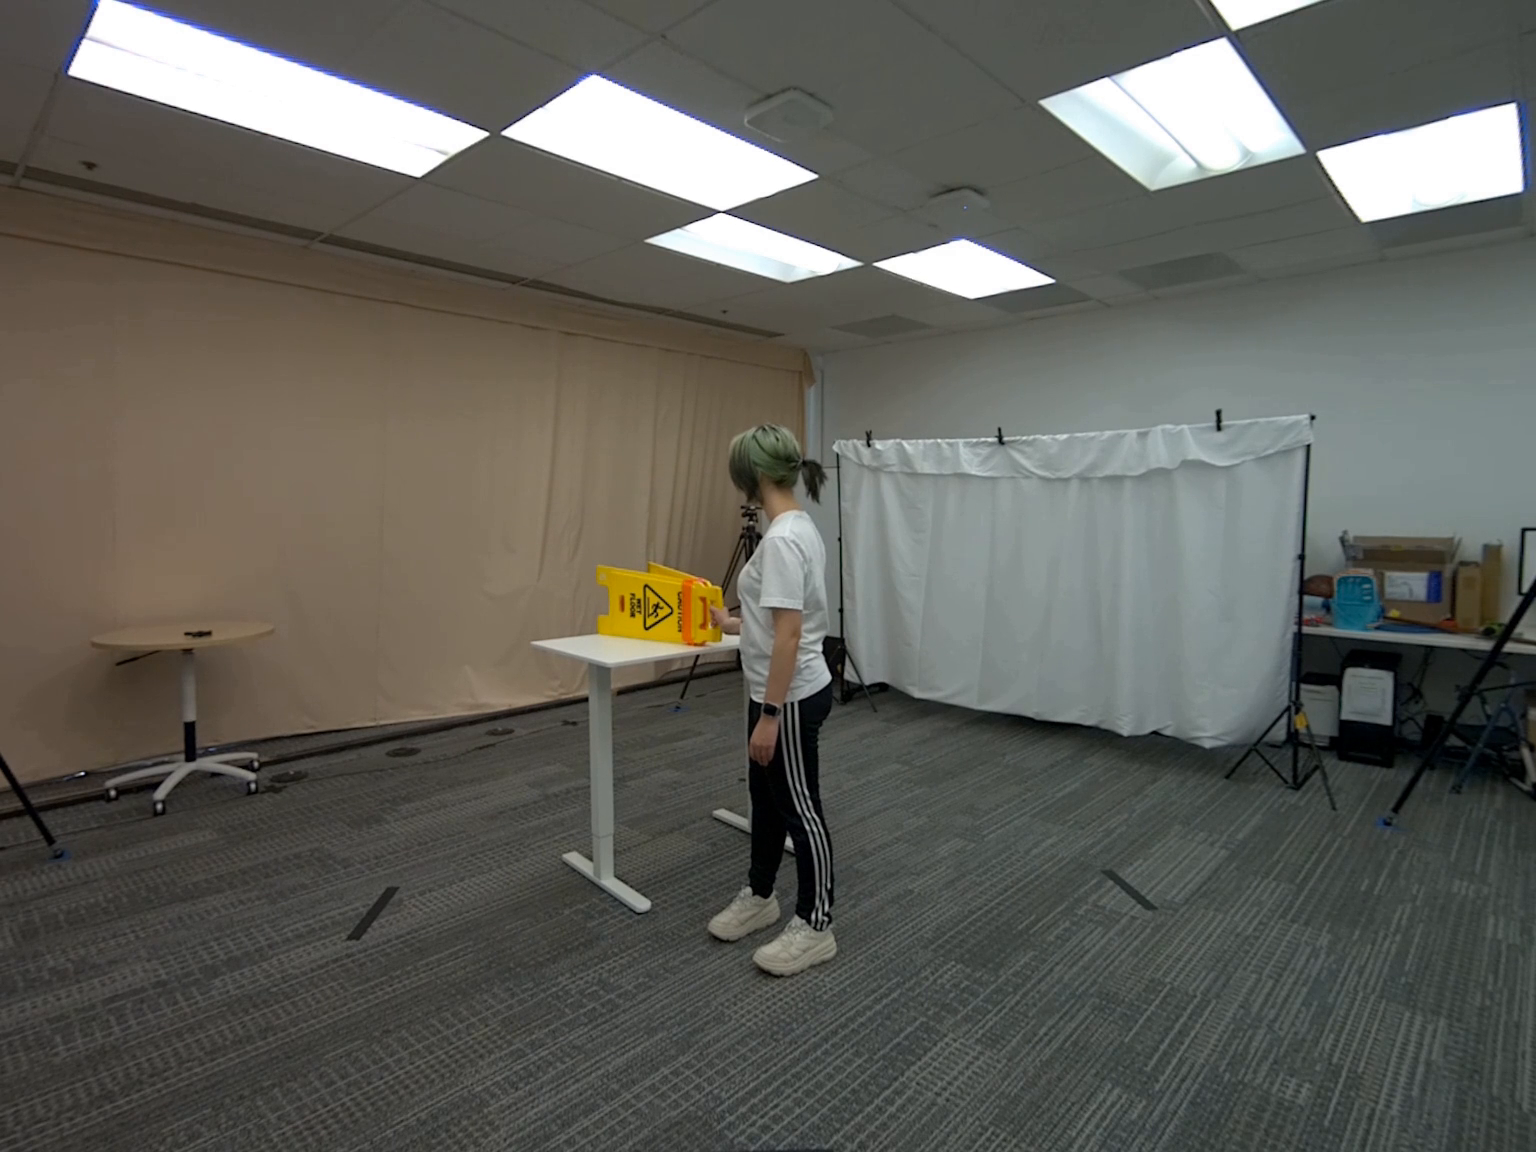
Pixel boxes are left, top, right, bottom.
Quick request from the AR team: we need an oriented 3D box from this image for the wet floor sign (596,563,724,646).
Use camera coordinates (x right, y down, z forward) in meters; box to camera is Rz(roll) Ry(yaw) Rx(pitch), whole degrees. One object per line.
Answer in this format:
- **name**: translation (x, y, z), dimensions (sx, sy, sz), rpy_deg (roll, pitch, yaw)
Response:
- **wet floor sign**: translation (-0.380, 0.115, 3.235), dimensions (0.281, 0.281, 0.668), rpy_deg (-4, 7, -40)
